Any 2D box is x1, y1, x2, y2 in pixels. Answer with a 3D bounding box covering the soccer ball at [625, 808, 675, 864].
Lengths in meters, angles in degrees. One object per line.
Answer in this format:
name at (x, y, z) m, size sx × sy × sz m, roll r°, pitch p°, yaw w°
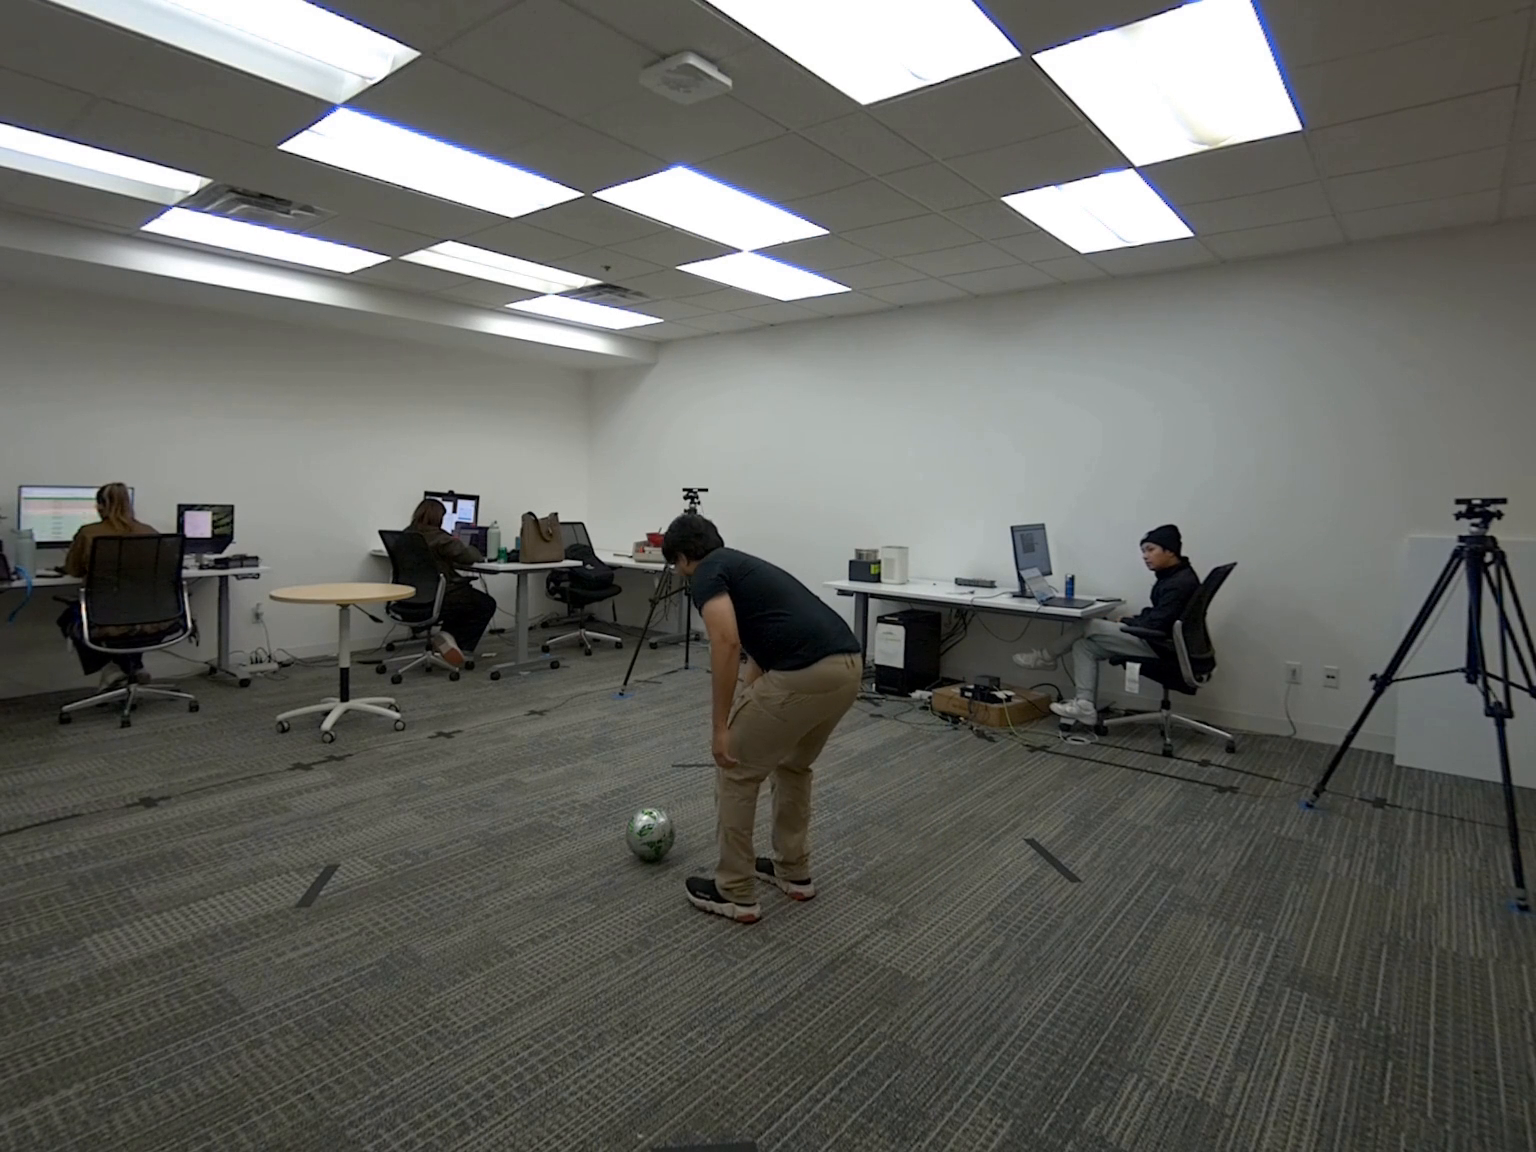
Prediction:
soccer ball at (-0.454, 0.967, 3.197) m, size 0.187 × 0.187 × 0.188 m, roll 1°, pitch 4°, yaw -2°
